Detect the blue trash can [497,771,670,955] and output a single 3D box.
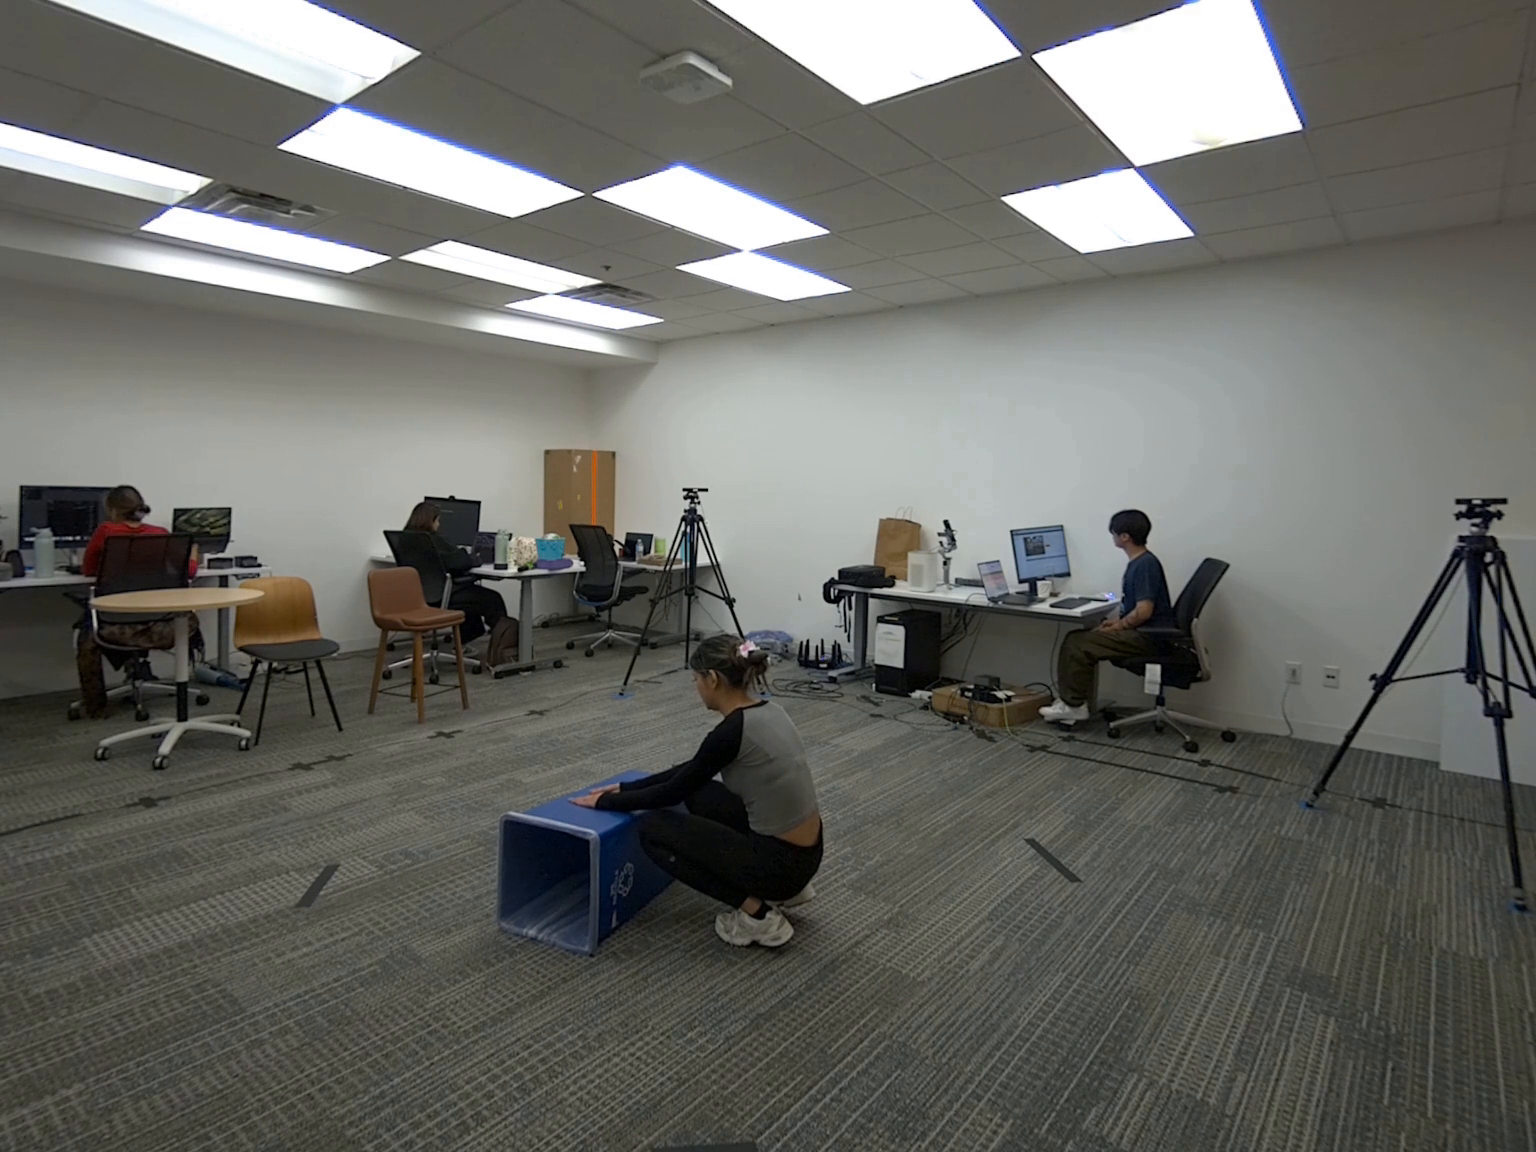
[{"bbox_3d":[-0.548,0.918,2.901,0.383,0.378,0.696,2,2,24],"label":"blue trash can"}]
